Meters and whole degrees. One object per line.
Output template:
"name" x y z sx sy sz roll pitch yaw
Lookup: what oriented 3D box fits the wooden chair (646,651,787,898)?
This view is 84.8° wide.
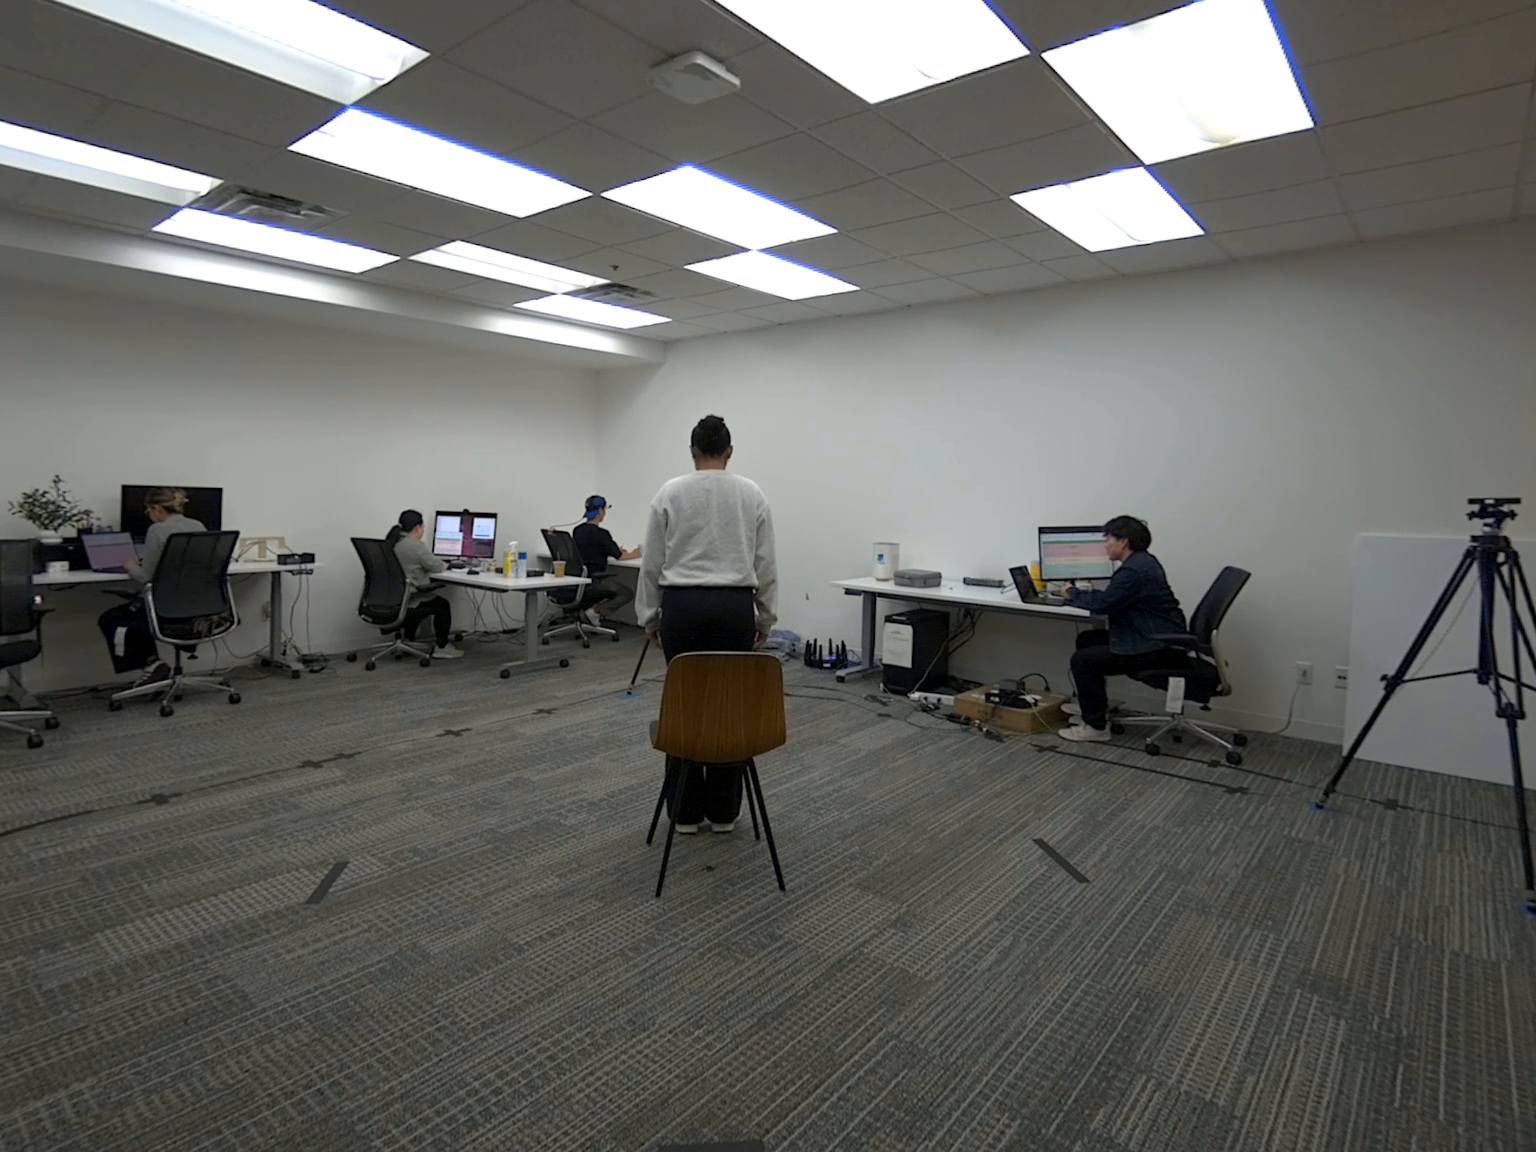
"wooden chair" -0.209 0.634 3.107 0.473 0.872 0.533 0 7 -11
